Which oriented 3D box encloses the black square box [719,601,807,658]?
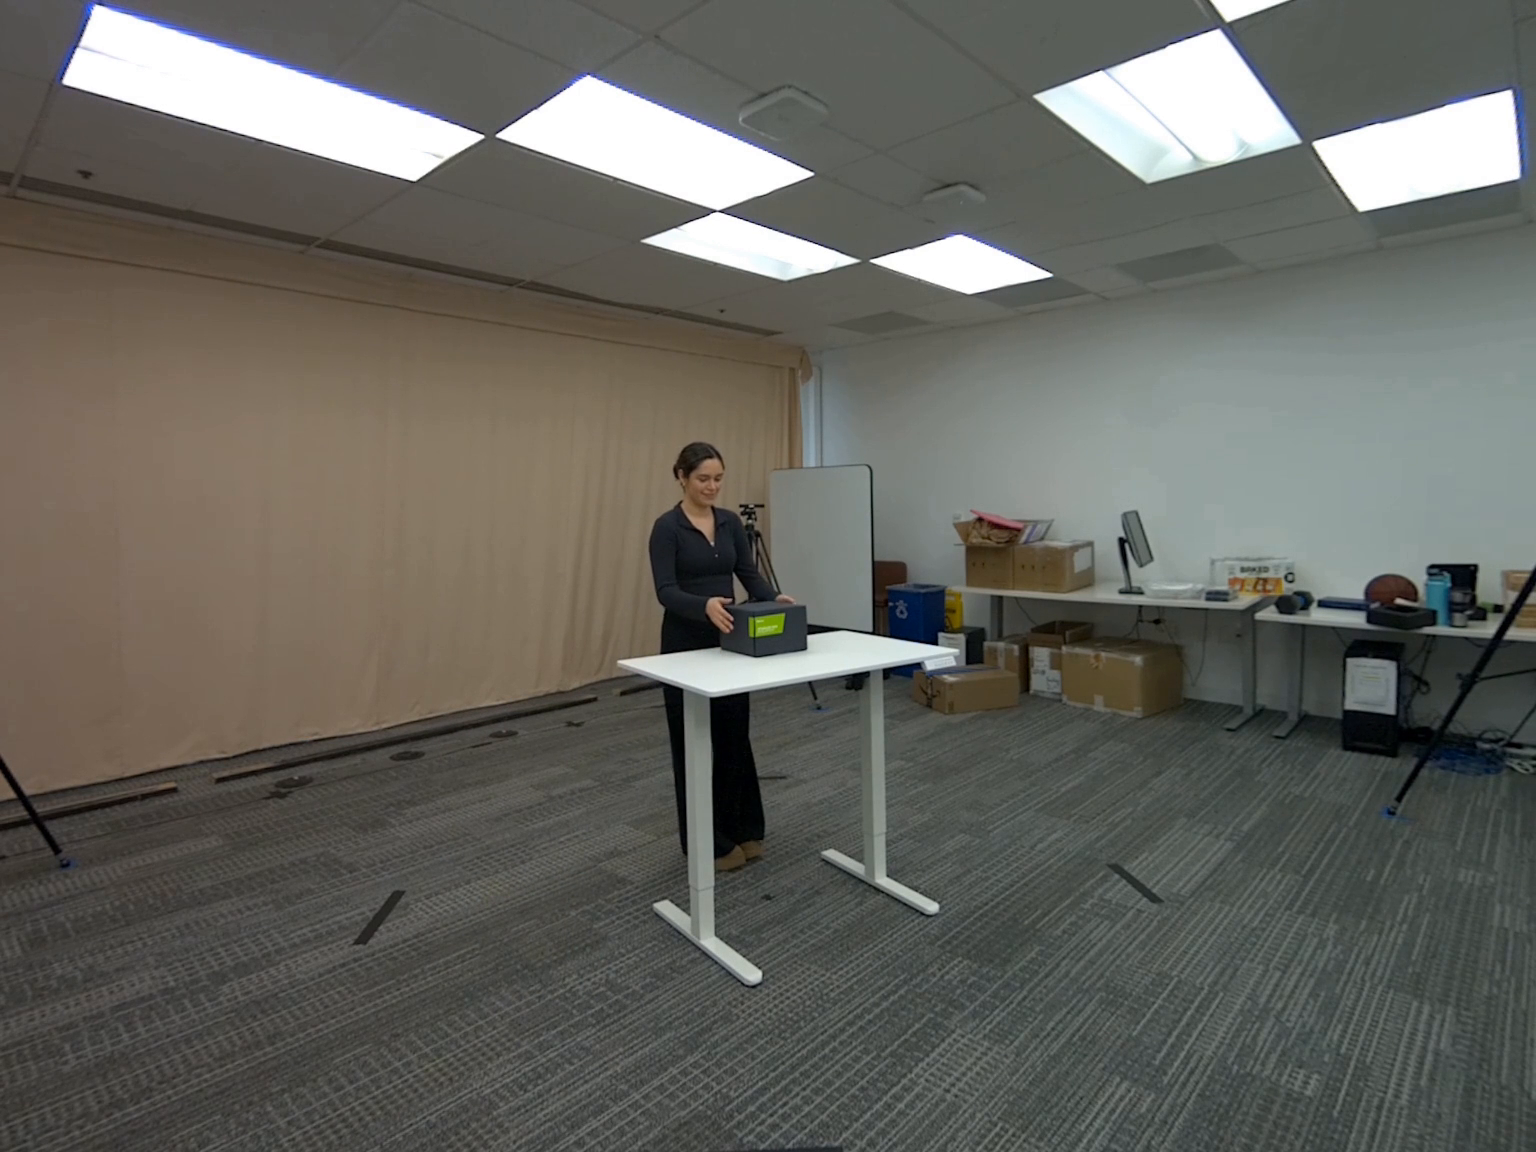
[{"bbox_3d":[-0.012,0.183,2.949,0.221,0.155,0.224,-4,5,-34],"label":"black square box"}]
